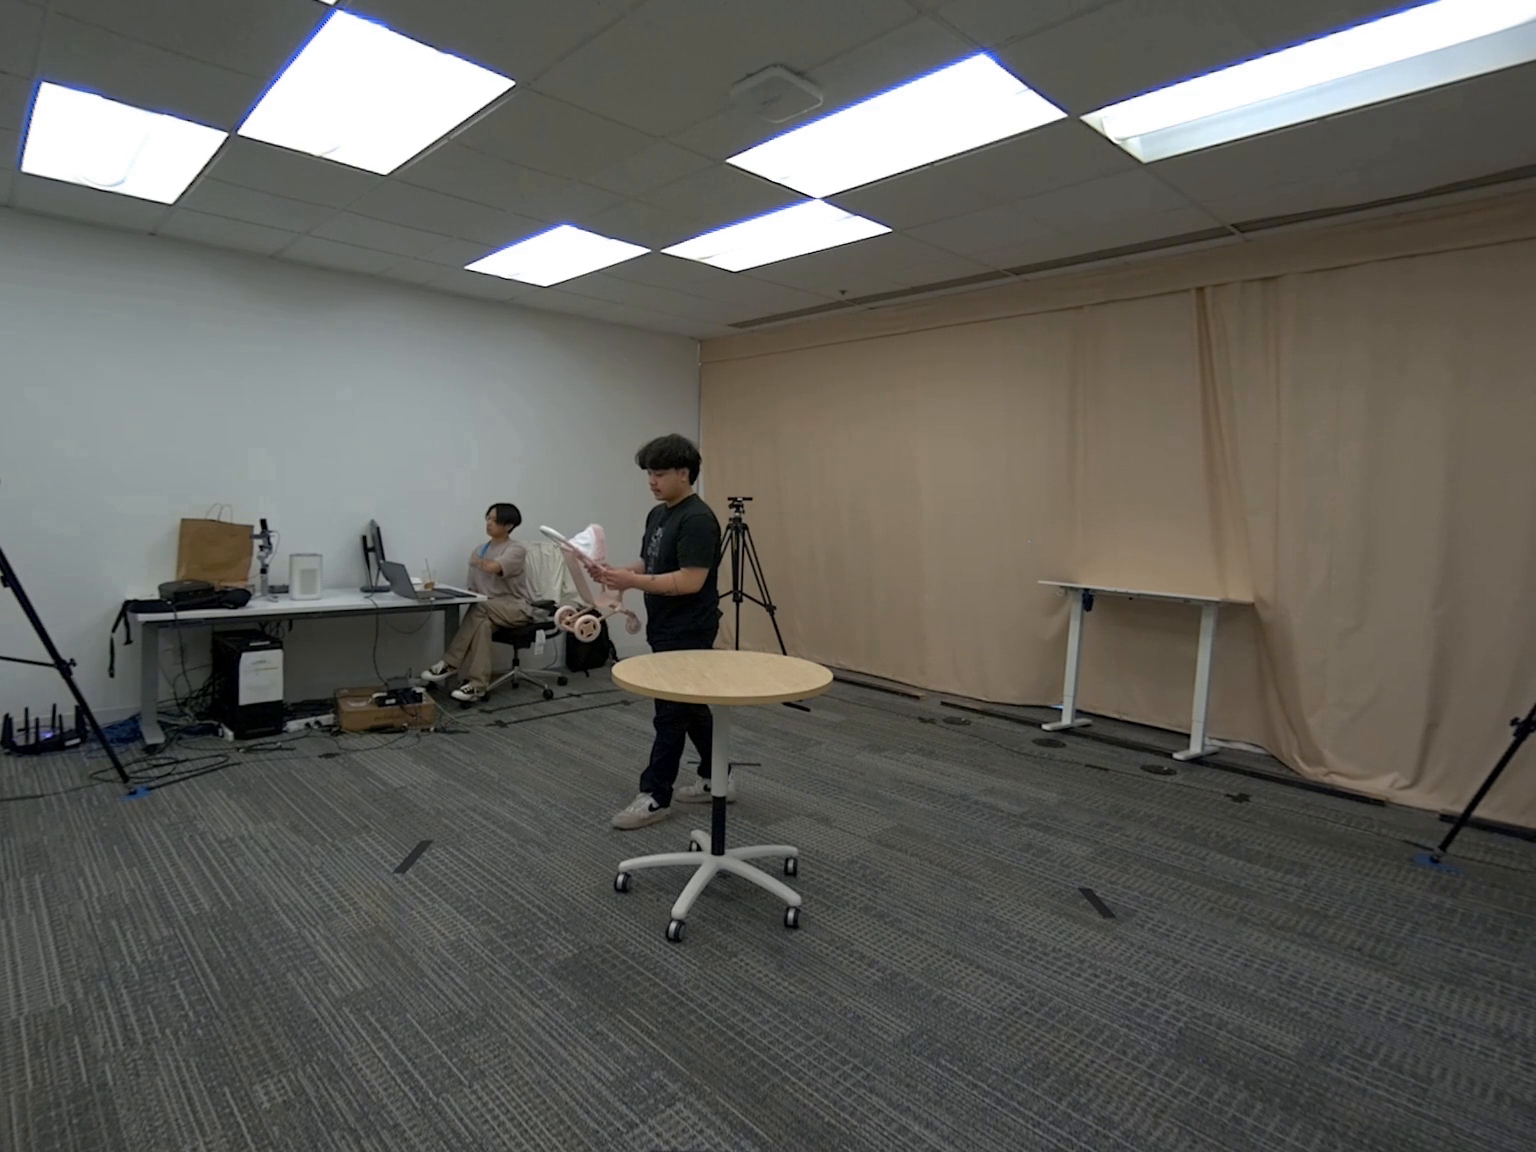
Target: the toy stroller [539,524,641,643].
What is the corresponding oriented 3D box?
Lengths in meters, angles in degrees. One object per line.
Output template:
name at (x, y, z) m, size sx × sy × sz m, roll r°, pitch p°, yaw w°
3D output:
toy stroller at (-0.731, 0.023, 3.511) m, size 0.336 × 0.530 × 0.288 m, roll -13°, pitch 11°, yaw -25°
